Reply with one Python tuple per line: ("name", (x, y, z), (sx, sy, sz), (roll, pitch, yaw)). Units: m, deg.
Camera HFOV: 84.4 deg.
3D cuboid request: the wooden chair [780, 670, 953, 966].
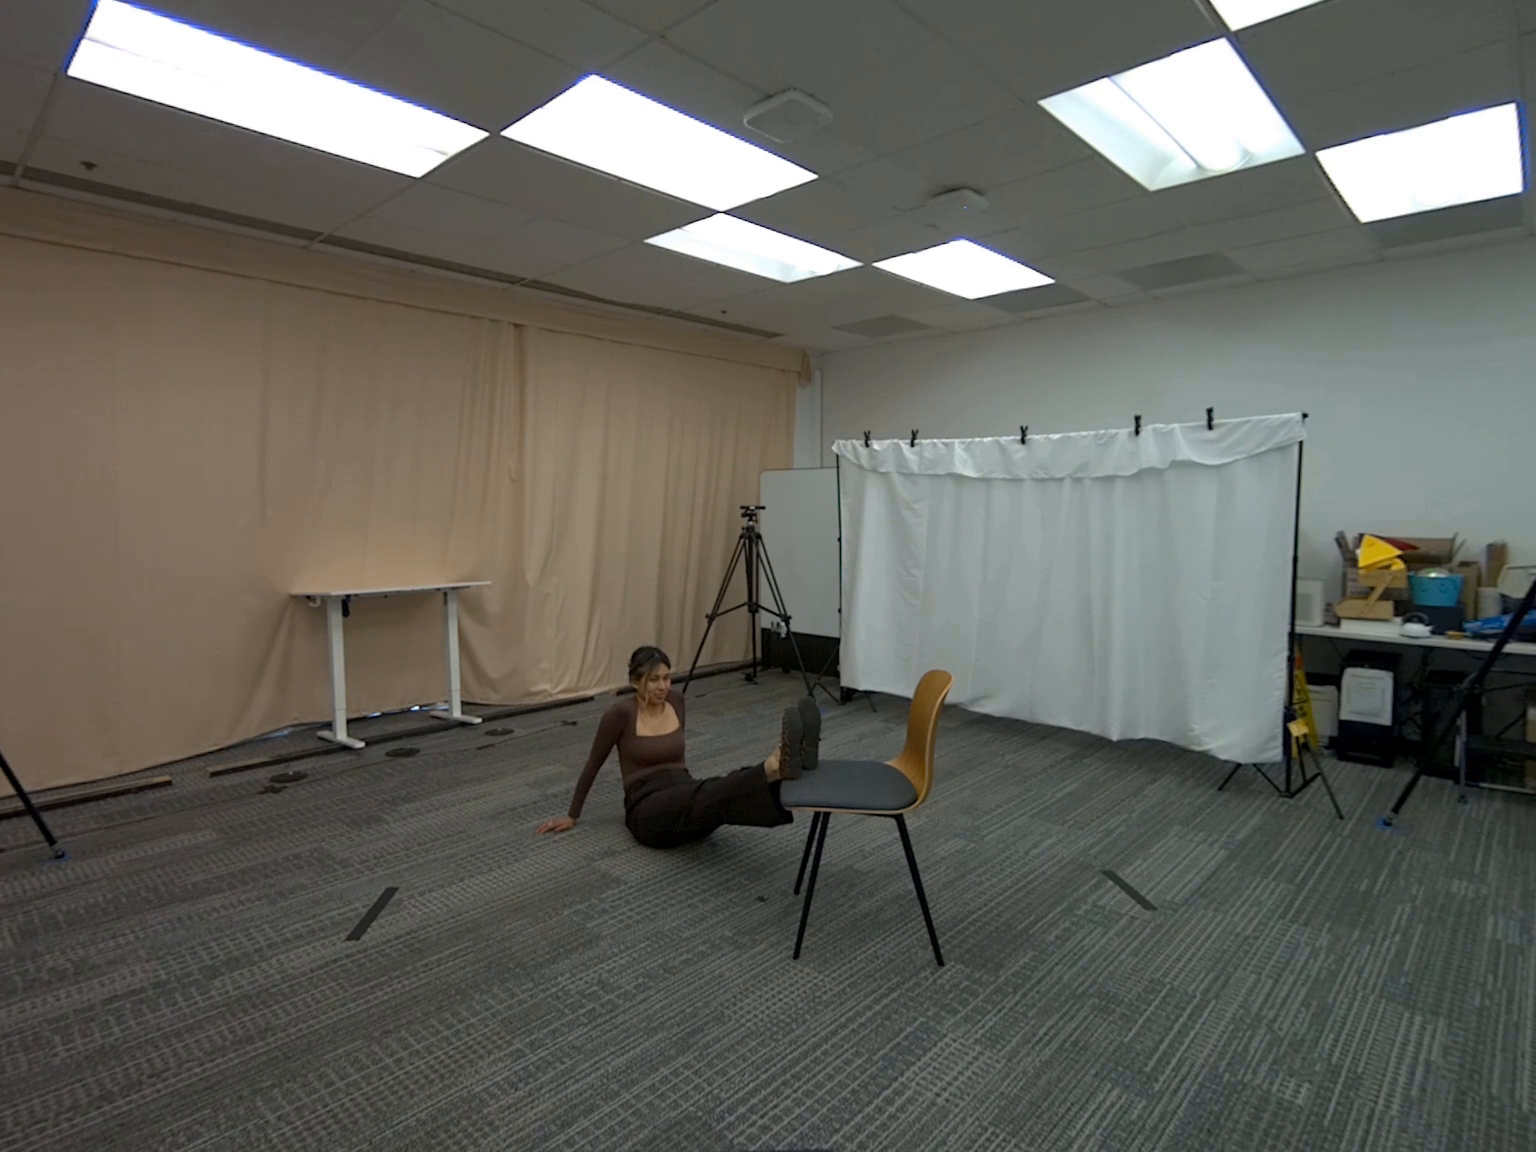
("wooden chair", (0.312, 0.735, 2.754), (0.526, 0.875, 0.476), (4, 4, 4))
